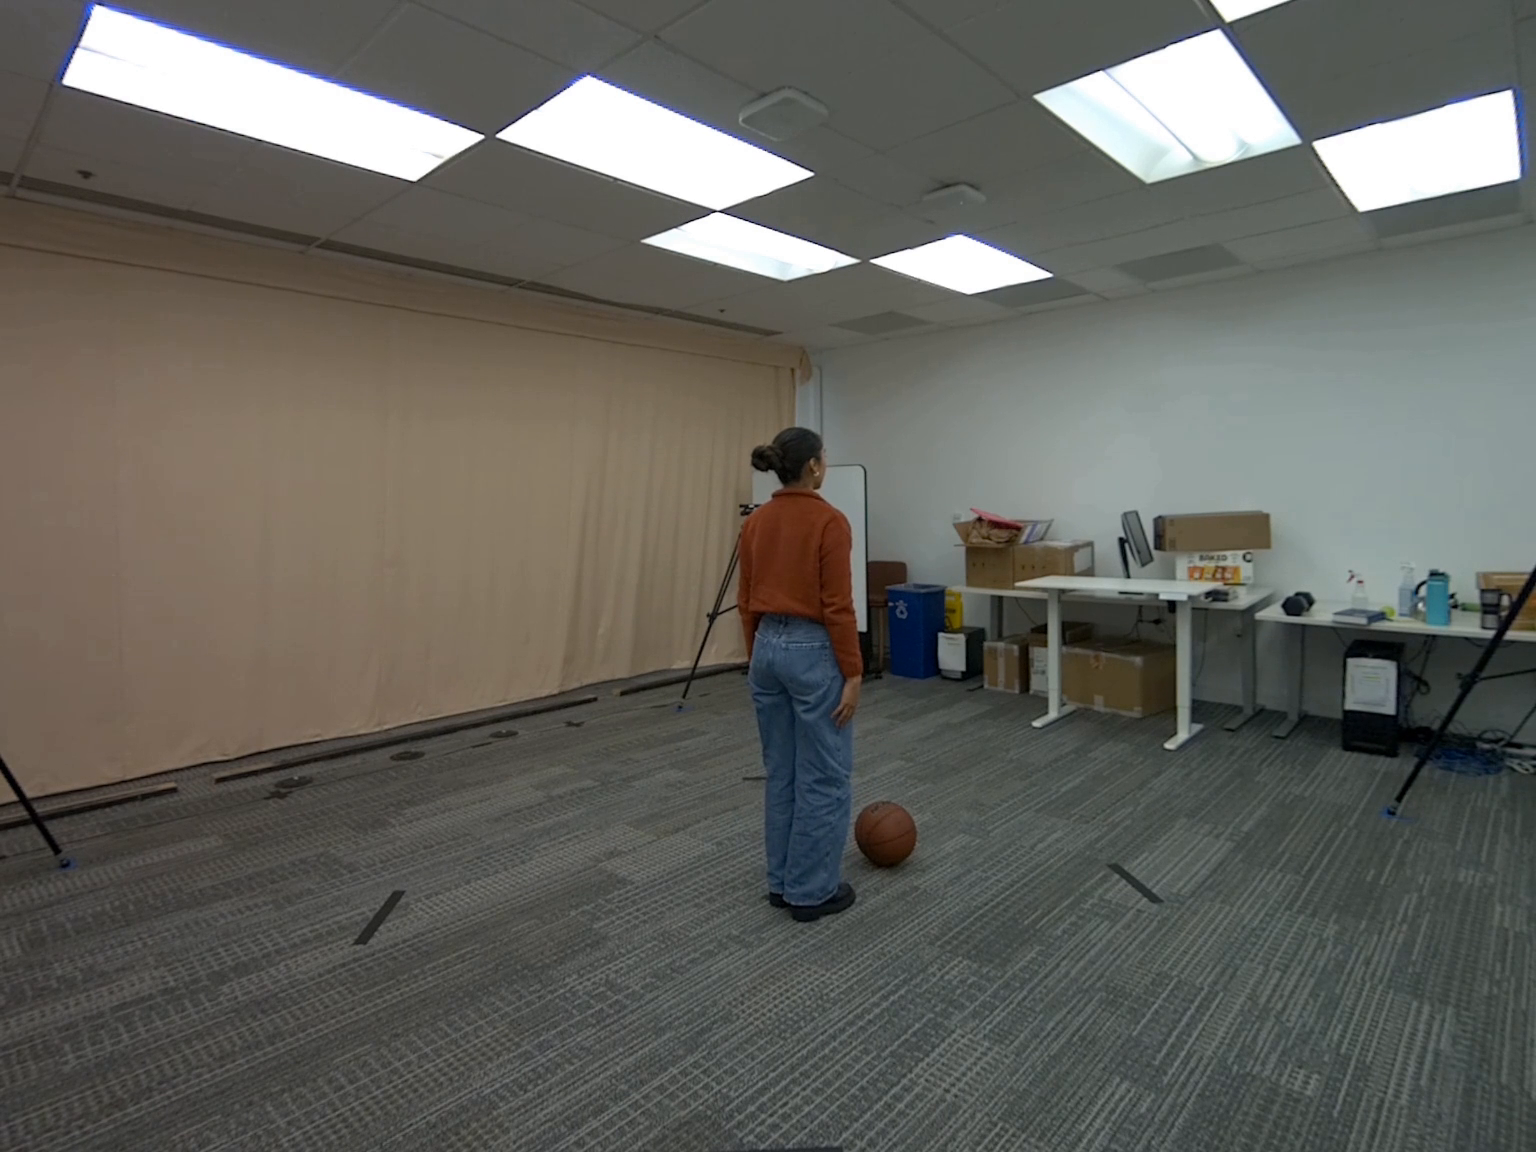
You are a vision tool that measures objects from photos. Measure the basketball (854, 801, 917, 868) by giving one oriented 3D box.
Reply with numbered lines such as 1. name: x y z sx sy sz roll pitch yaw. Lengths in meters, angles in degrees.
1. basketball: 0.454 0.991 3.246 0.236 0.235 0.237 -1 4 -2
